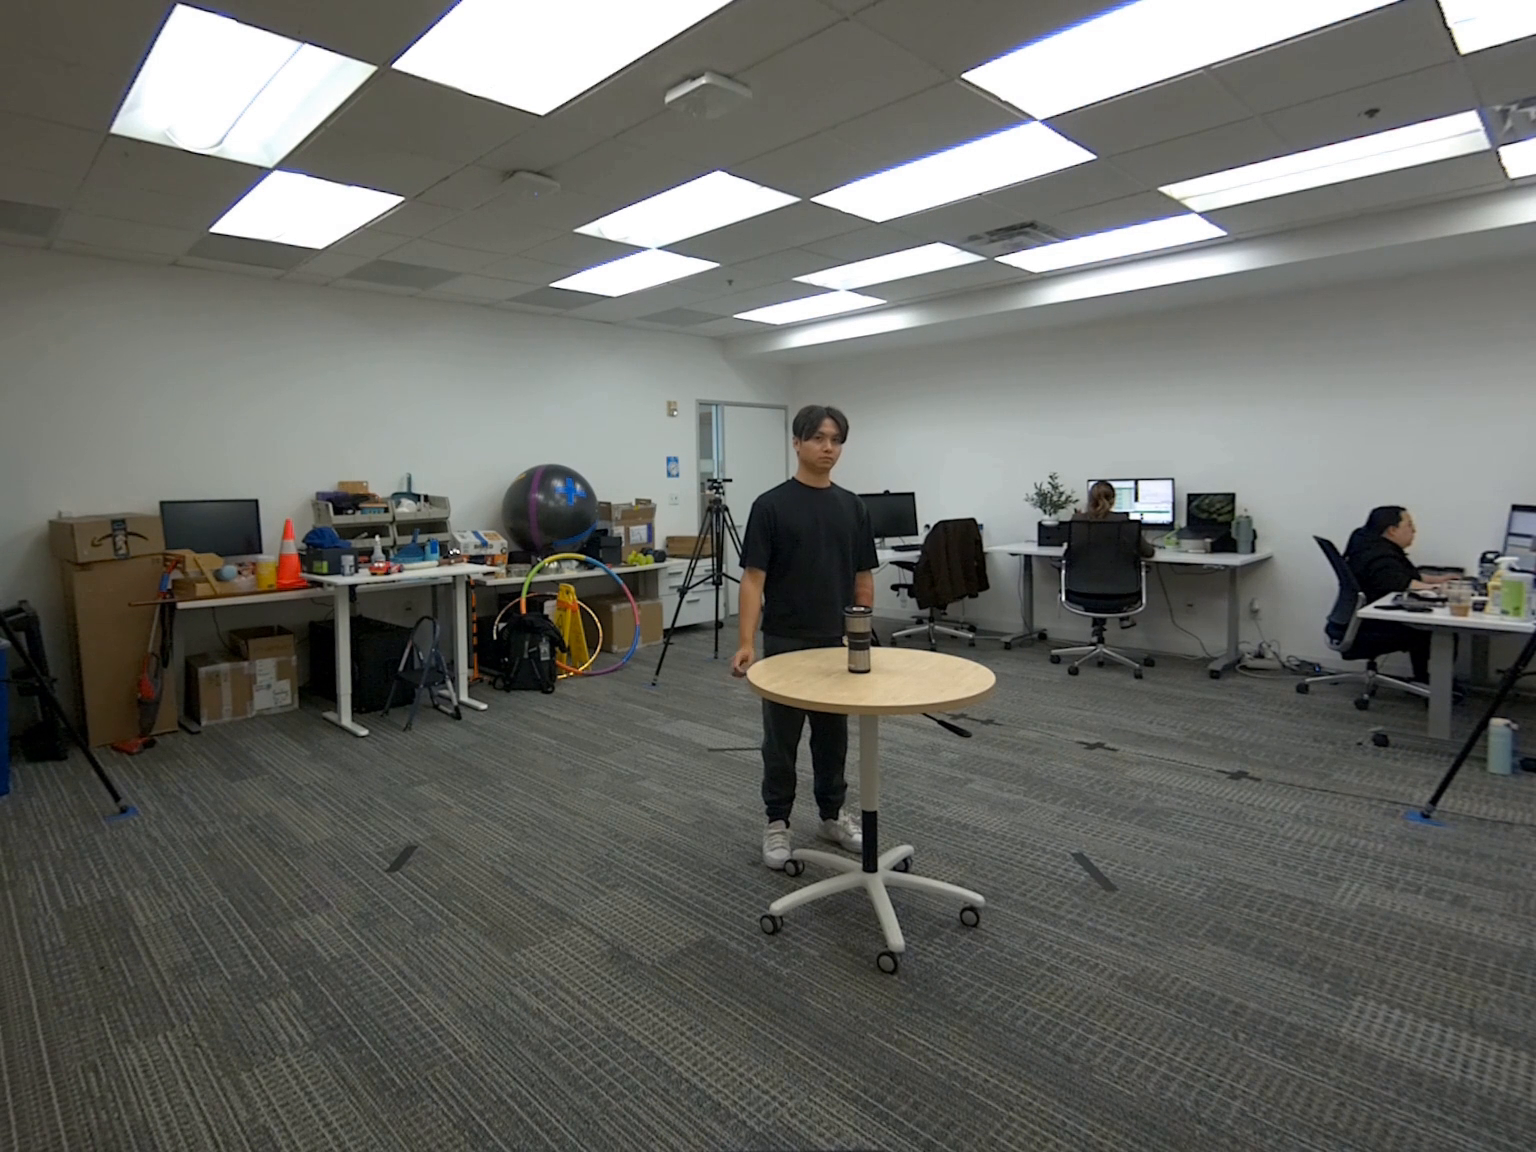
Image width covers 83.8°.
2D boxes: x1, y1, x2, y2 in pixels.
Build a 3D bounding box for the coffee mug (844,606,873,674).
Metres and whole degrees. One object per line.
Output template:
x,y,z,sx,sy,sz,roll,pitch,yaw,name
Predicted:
0.293,0.202,2.712,0.090,0.202,0.119,-5,5,41,coffee mug
